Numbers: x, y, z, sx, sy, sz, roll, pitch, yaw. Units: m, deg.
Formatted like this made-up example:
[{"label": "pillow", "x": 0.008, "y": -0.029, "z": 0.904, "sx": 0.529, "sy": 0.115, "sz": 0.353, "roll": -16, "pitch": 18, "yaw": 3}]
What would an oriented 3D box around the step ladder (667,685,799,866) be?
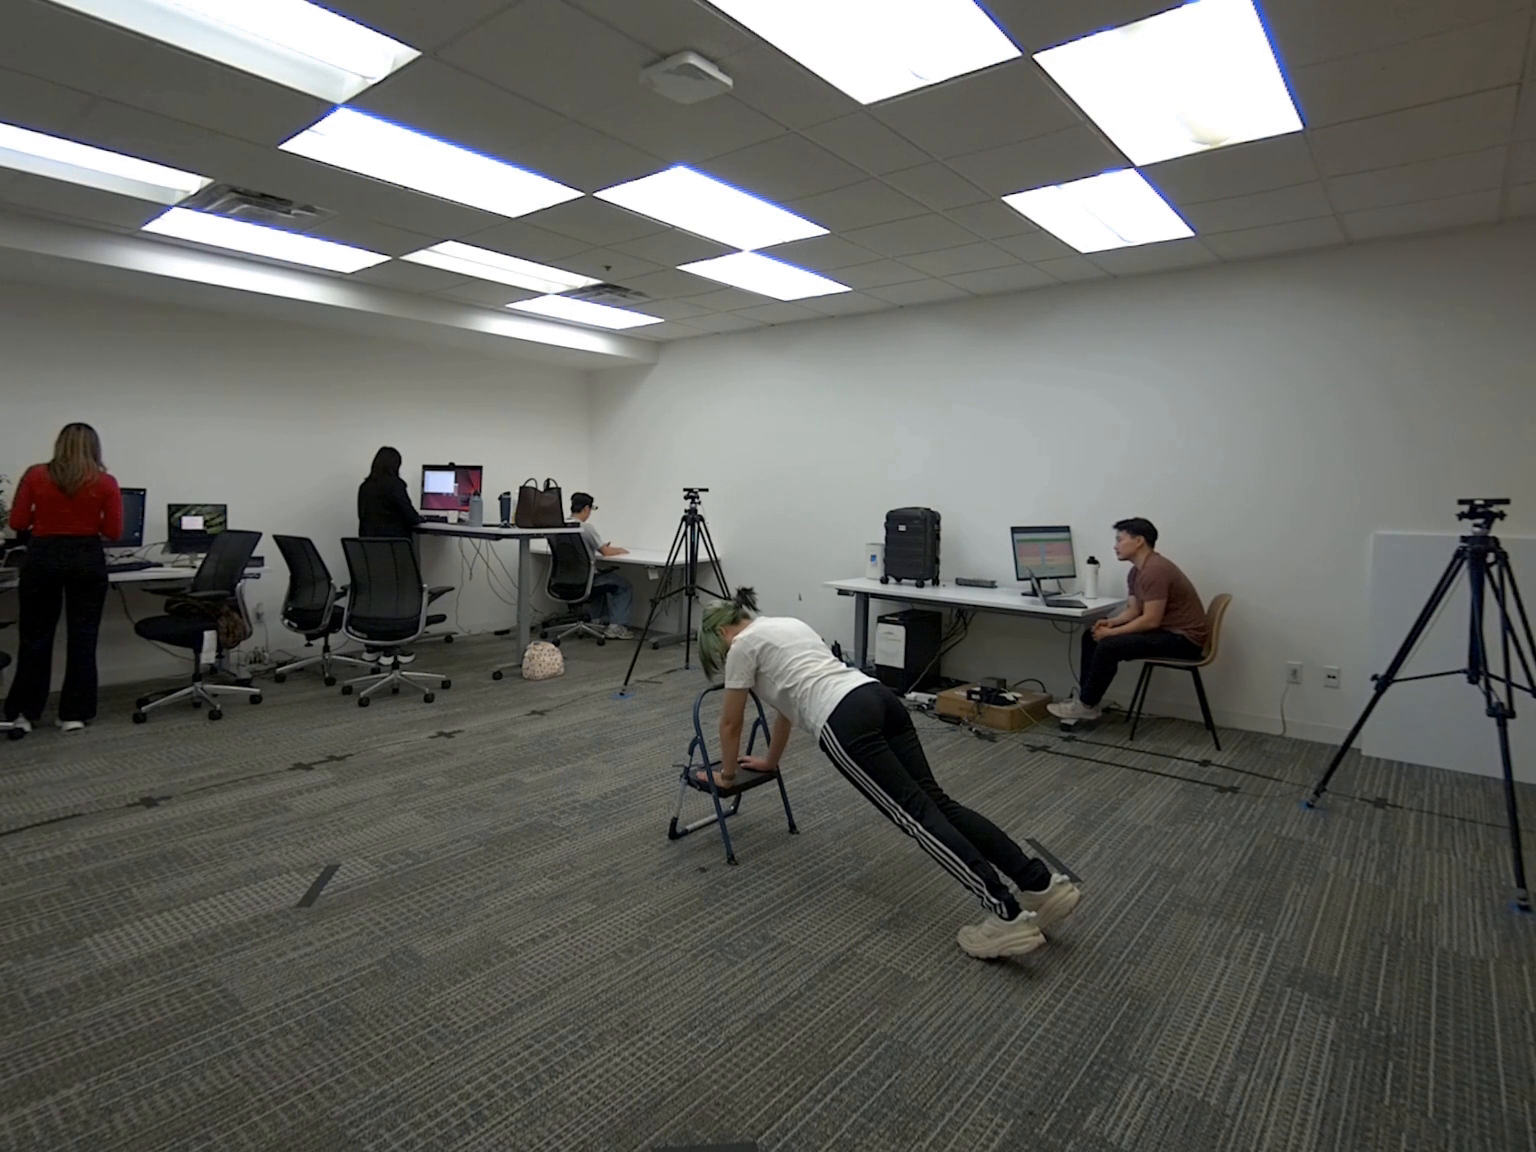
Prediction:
[{"label": "step ladder", "x": -0.143, "y": 0.739, "z": 3.402, "sx": 0.361, "sy": 0.604, "sz": 0.418, "roll": 4, "pitch": 4, "yaw": 38}]
